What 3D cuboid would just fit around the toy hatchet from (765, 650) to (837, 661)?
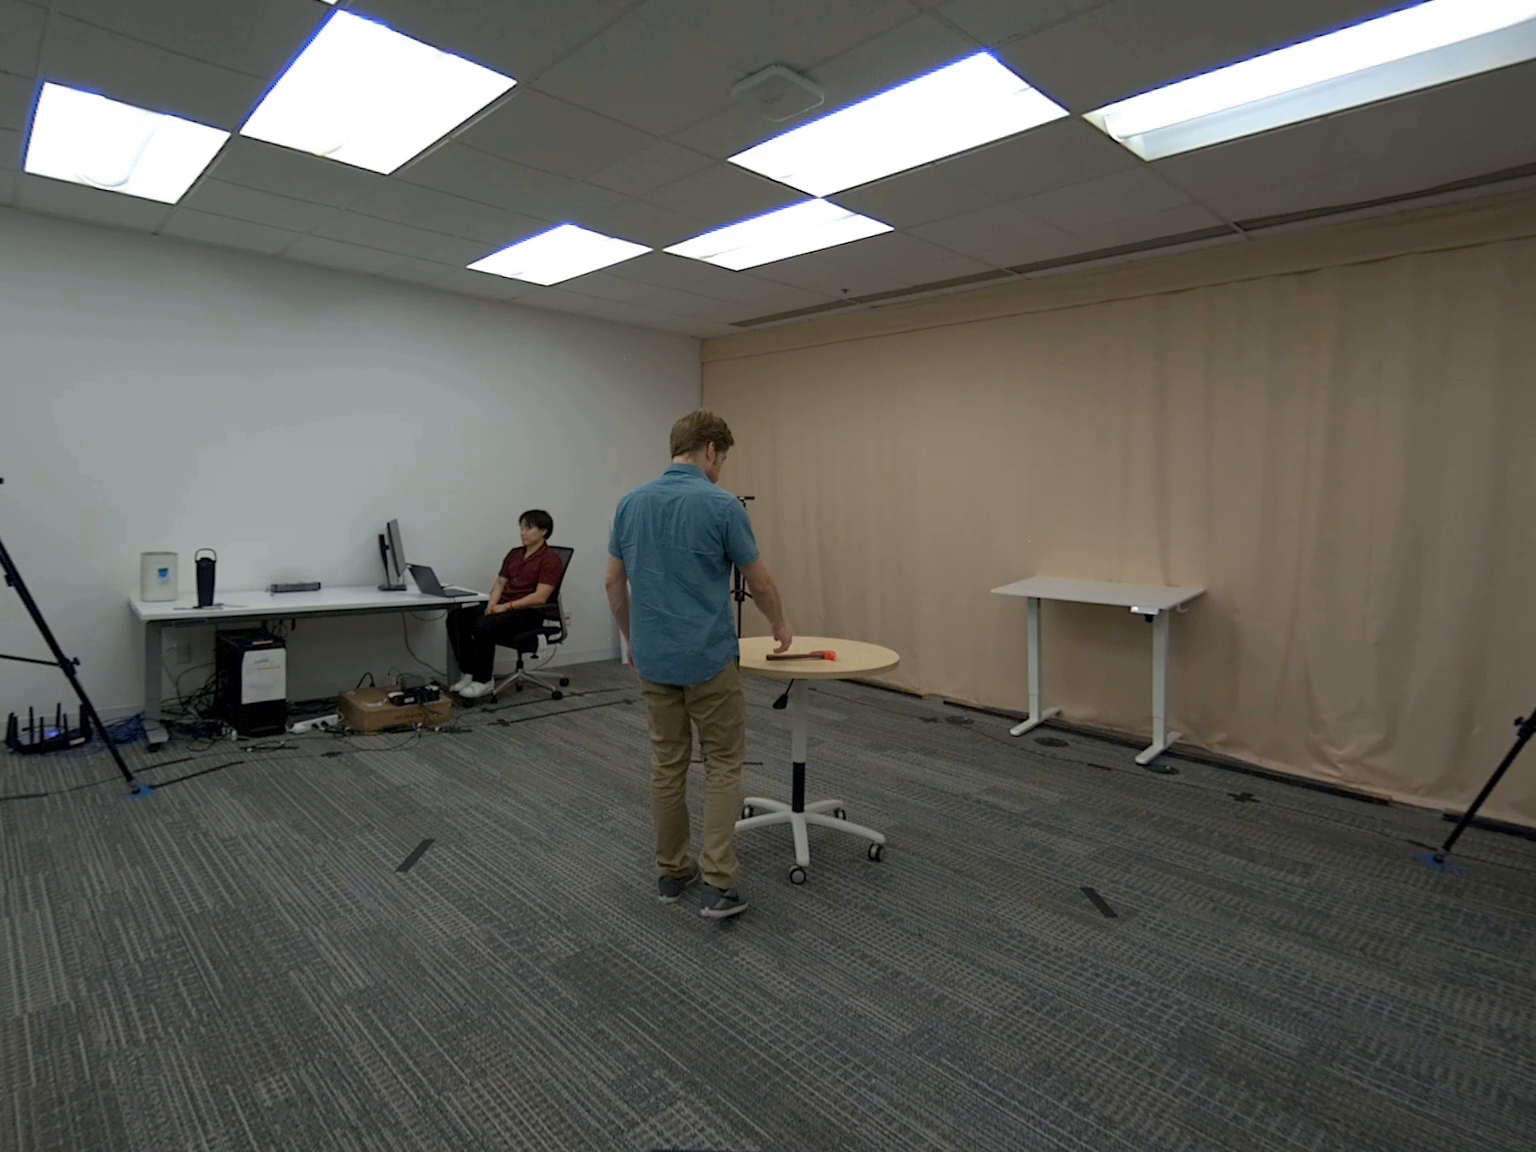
[{"bbox_3d":[0.117,0.302,3.228,0.270,0.029,0.131,0,6,0],"label":"toy hatchet"}]
